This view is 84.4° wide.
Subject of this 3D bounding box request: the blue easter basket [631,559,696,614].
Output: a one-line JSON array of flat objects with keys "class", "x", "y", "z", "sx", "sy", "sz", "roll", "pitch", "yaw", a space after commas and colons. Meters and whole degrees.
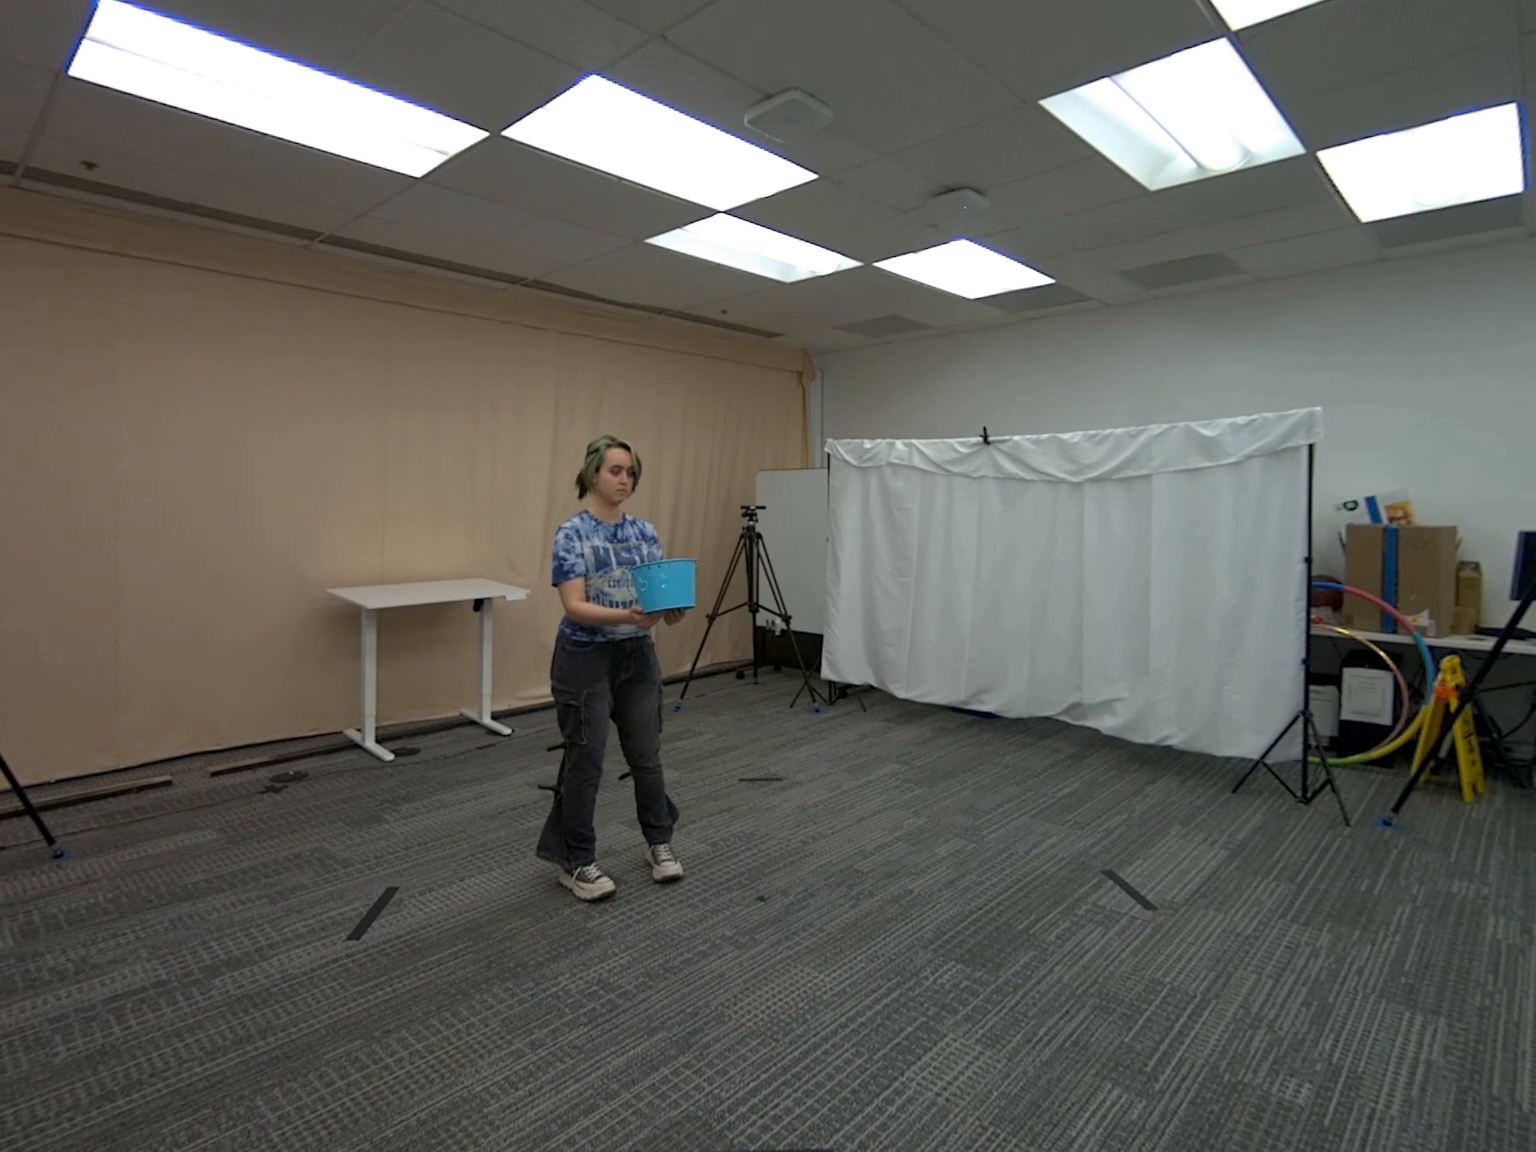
[{"class": "blue easter basket", "x": -0.342, "y": 0.043, "z": 2.814, "sx": 0.243, "sy": 0.157, "sz": 0.243, "roll": -9, "pitch": -5, "yaw": -3}]
